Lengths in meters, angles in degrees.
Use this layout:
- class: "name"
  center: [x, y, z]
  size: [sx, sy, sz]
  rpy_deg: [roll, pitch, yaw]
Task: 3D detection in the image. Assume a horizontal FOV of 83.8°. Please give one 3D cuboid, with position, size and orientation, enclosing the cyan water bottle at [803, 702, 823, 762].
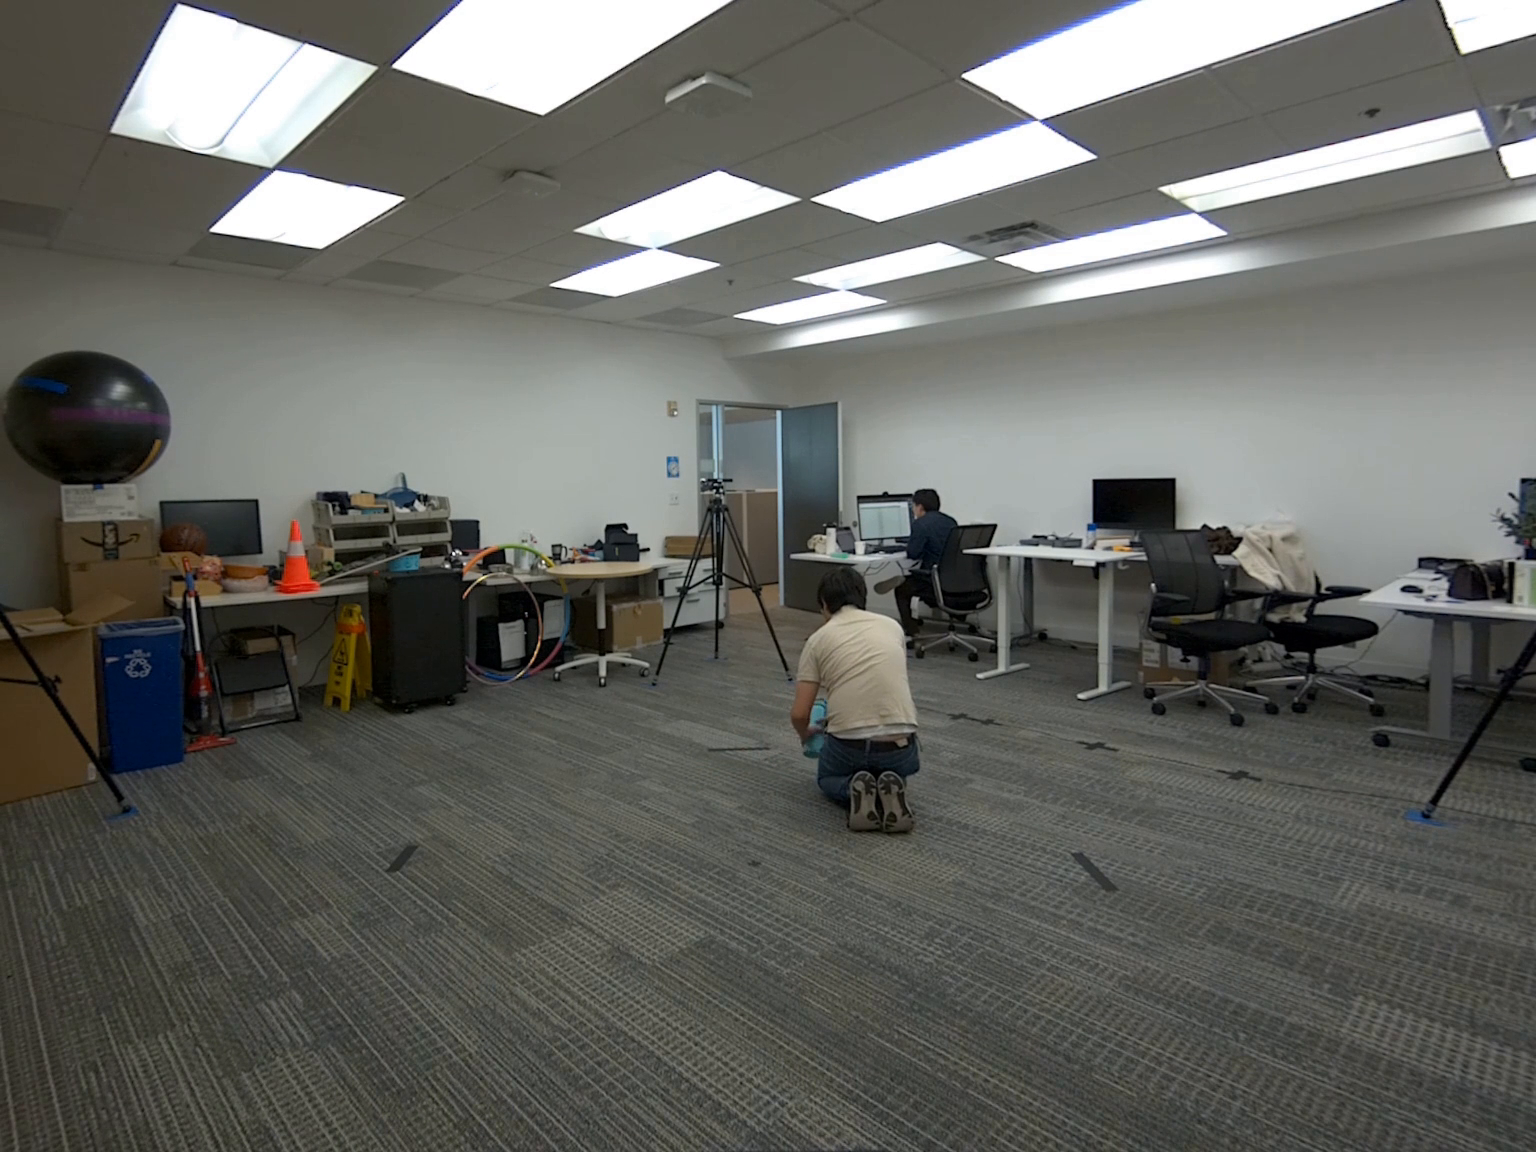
- class: "cyan water bottle"
  center: [0.224, 0.698, 3.946]
  size: [0.093, 0.289, 0.090]
  rpy_deg: [6, -35, 3]
